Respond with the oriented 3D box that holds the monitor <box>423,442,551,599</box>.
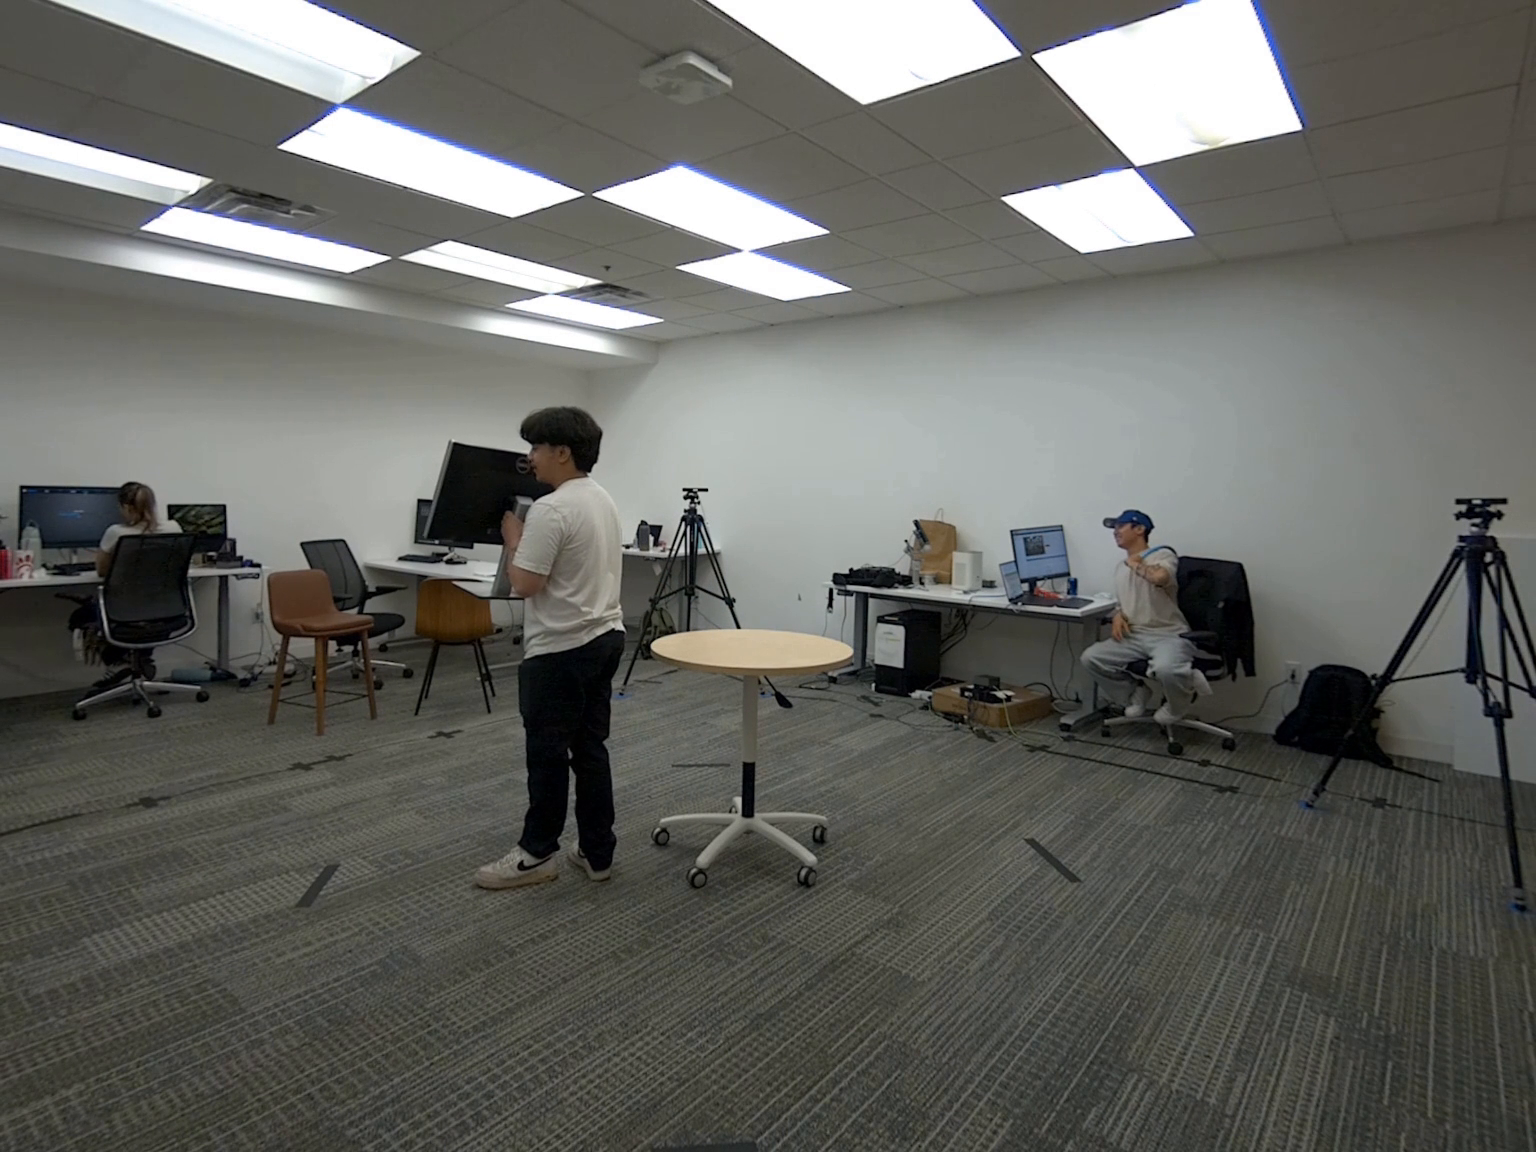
[{"bbox_3d":[-0.937,-0.176,3.068,0.219,0.551,0.546,24,12,41],"label":"monitor"}]
